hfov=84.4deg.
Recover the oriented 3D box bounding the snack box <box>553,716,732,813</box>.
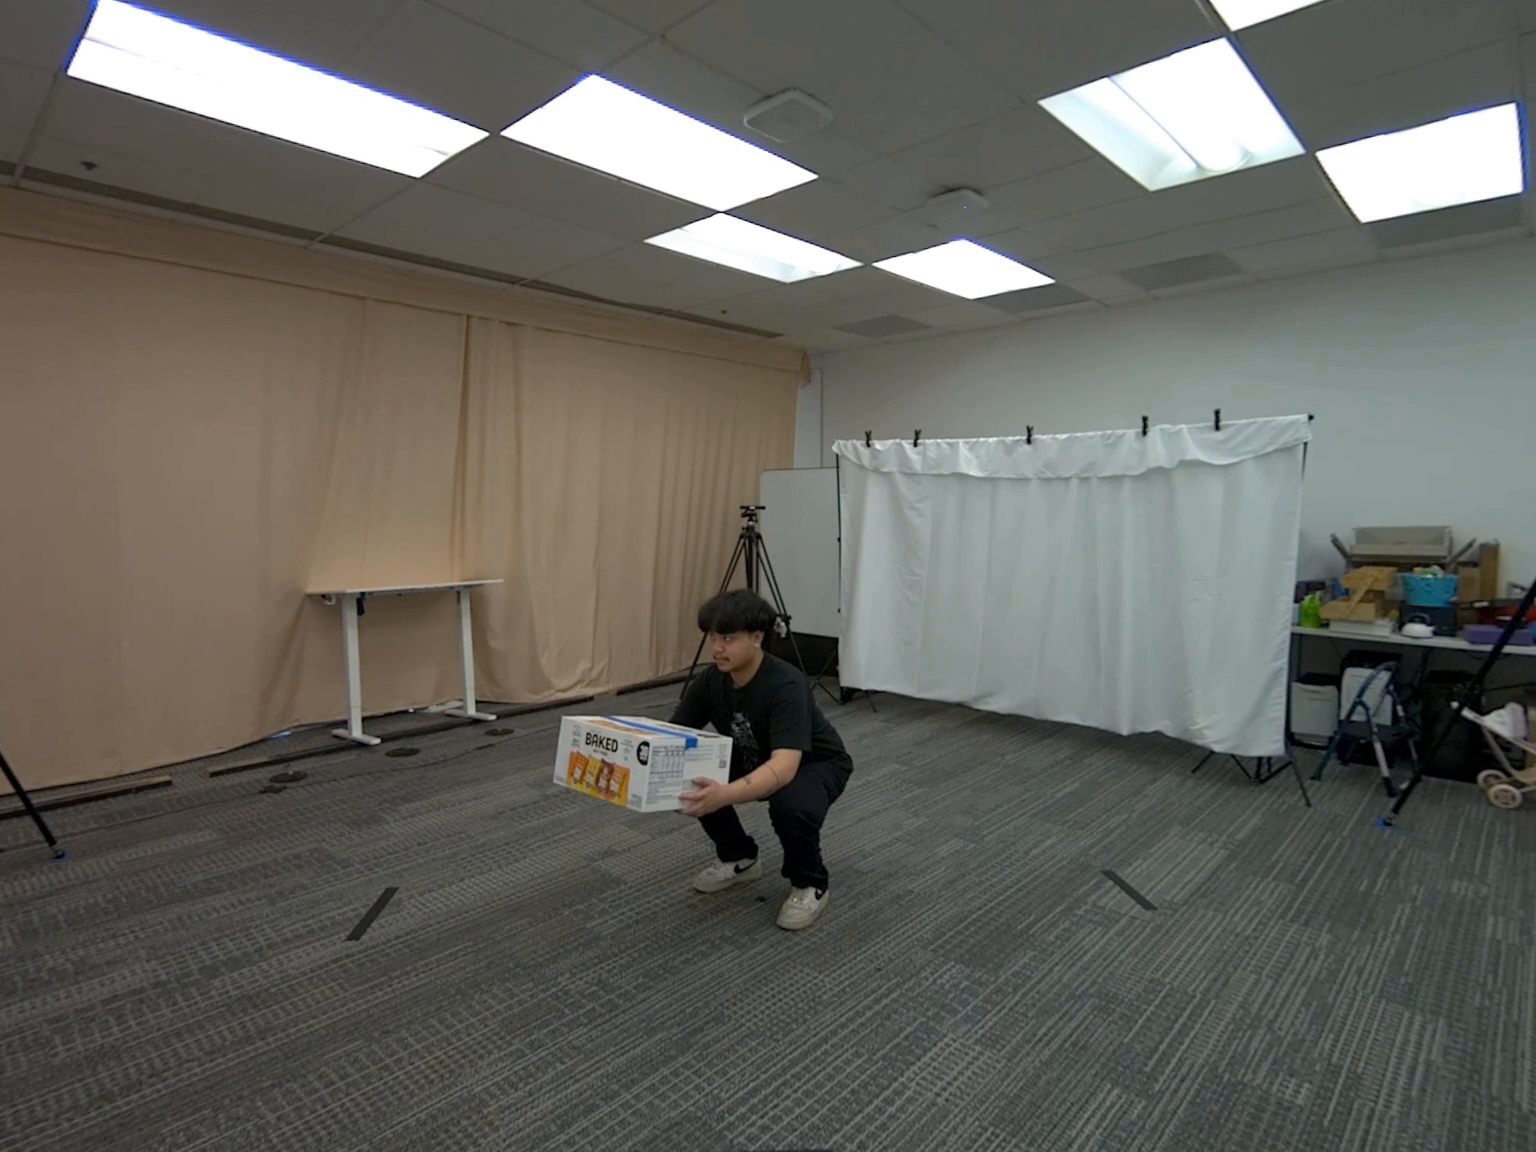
[{"bbox_3d":[-0.376,0.561,2.549,0.418,0.206,0.328,3,-6,42],"label":"snack box"}]
